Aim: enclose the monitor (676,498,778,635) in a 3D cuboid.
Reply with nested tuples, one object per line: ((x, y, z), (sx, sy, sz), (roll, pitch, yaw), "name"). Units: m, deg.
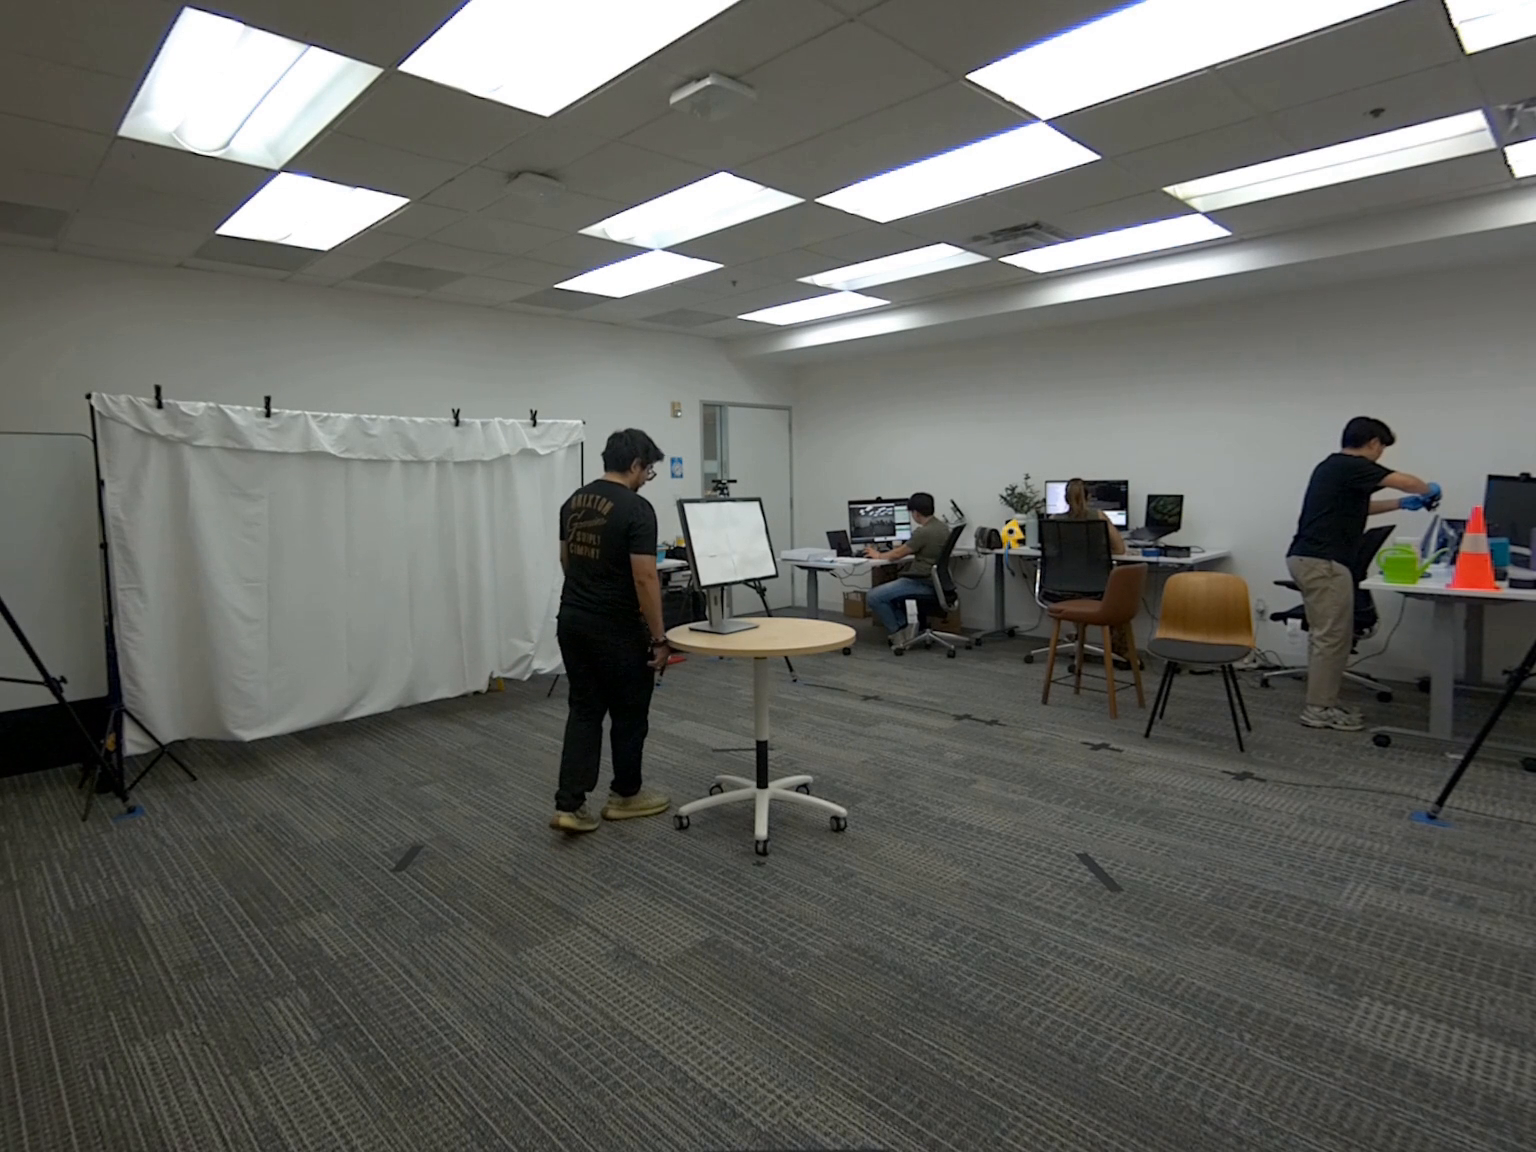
((-0.207, -0.048, 3.565), (0.215, 0.554, 0.551), (-7, 0, 36), "monitor")
